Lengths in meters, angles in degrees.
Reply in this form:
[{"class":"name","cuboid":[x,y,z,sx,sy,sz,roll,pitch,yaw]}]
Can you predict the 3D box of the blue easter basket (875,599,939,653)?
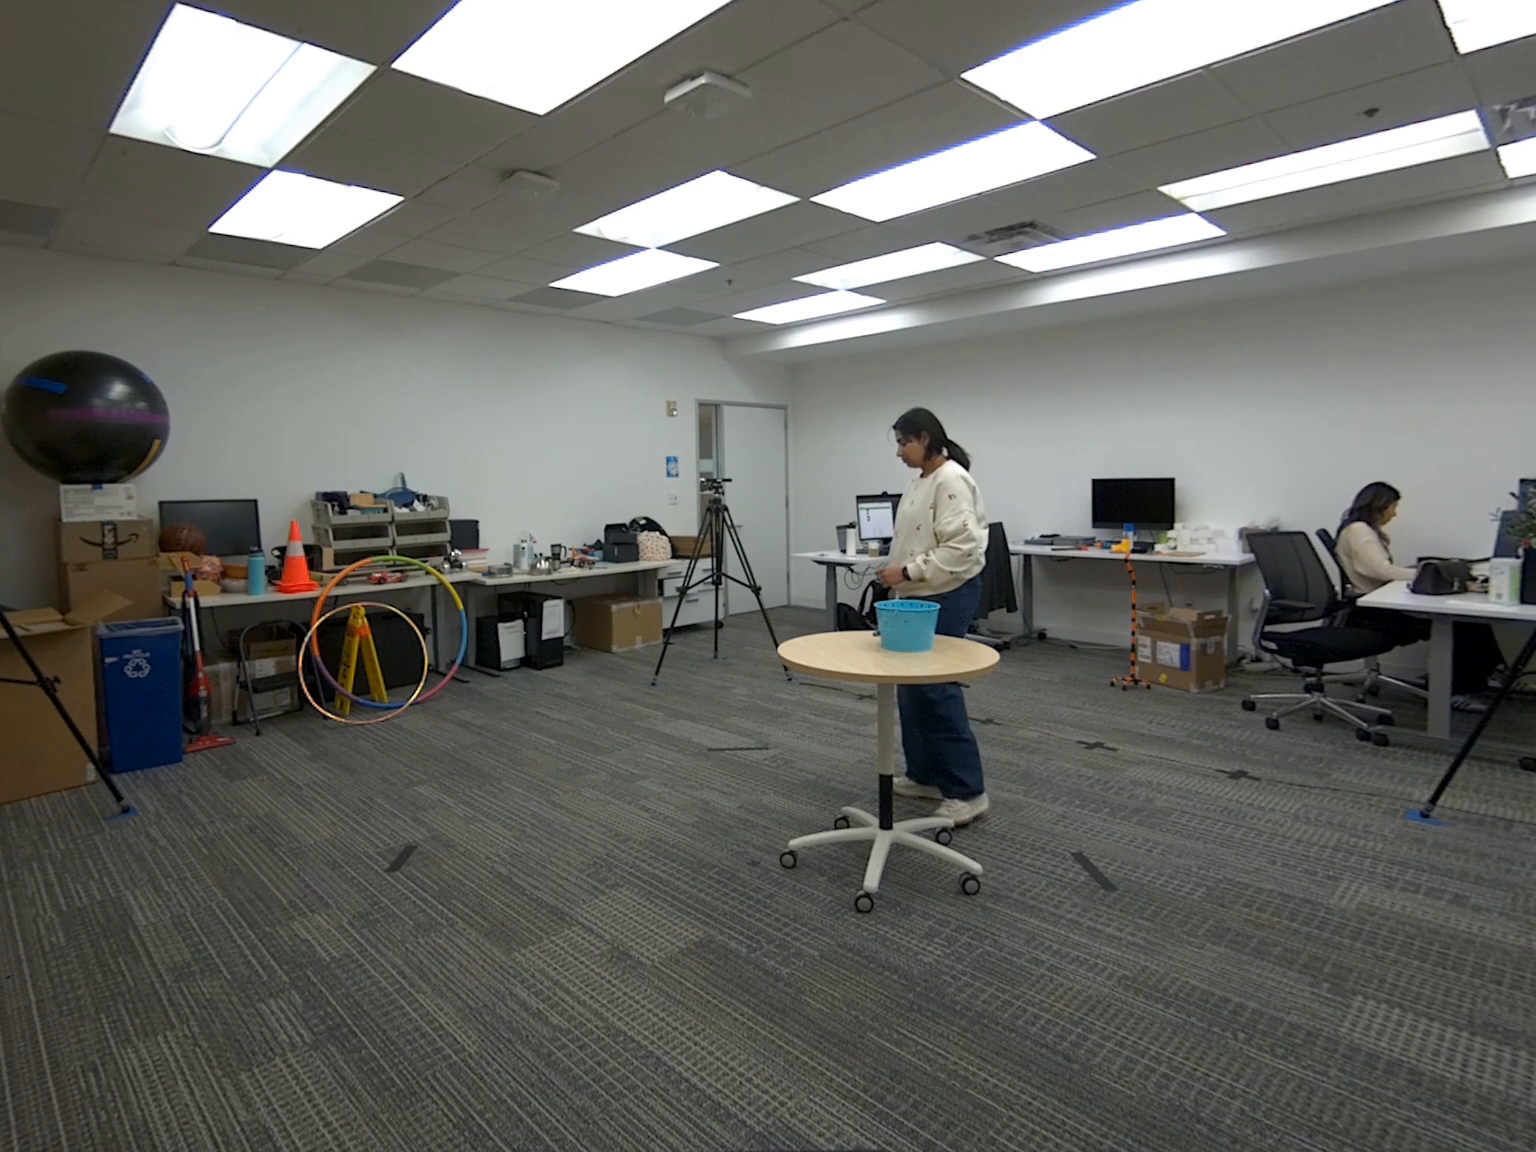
[{"class":"blue easter basket","cuboid":[0.507,0.182,3.083,0.243,0.155,0.245,1,6,-2]}]
